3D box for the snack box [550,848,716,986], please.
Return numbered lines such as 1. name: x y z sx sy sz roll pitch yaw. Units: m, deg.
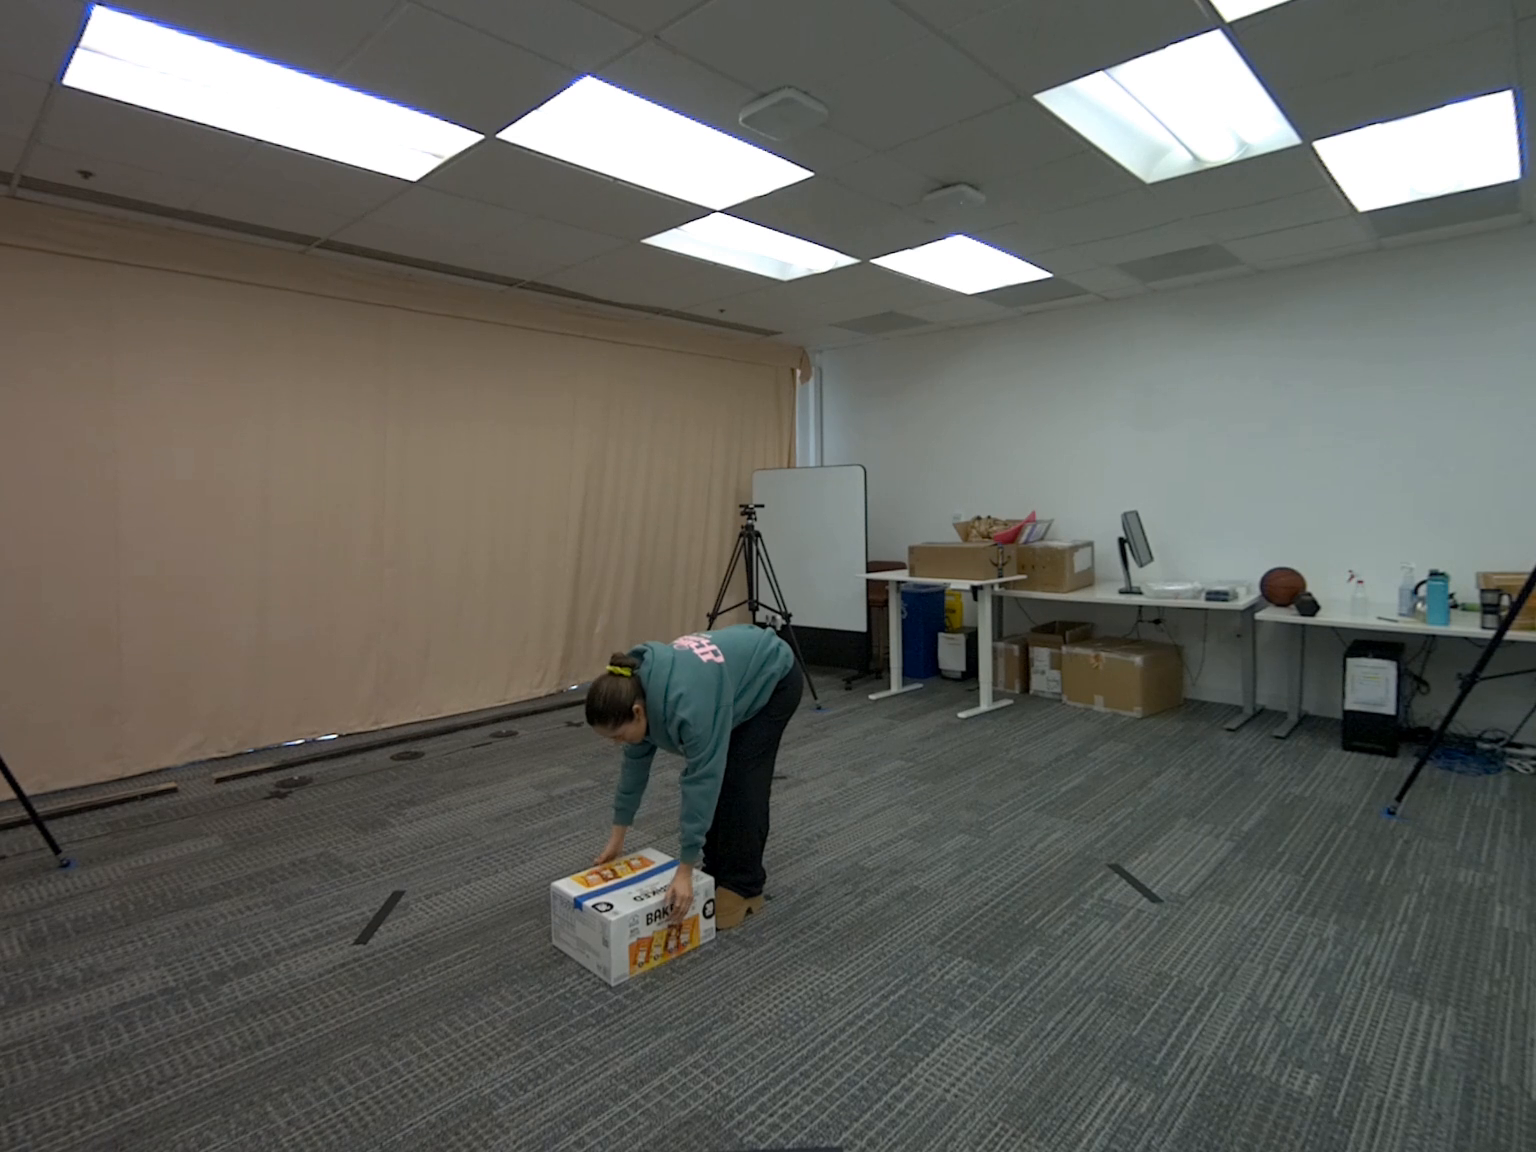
1. snack box: -0.432 1.076 2.686 0.393 0.205 0.351 -5 5 -43
